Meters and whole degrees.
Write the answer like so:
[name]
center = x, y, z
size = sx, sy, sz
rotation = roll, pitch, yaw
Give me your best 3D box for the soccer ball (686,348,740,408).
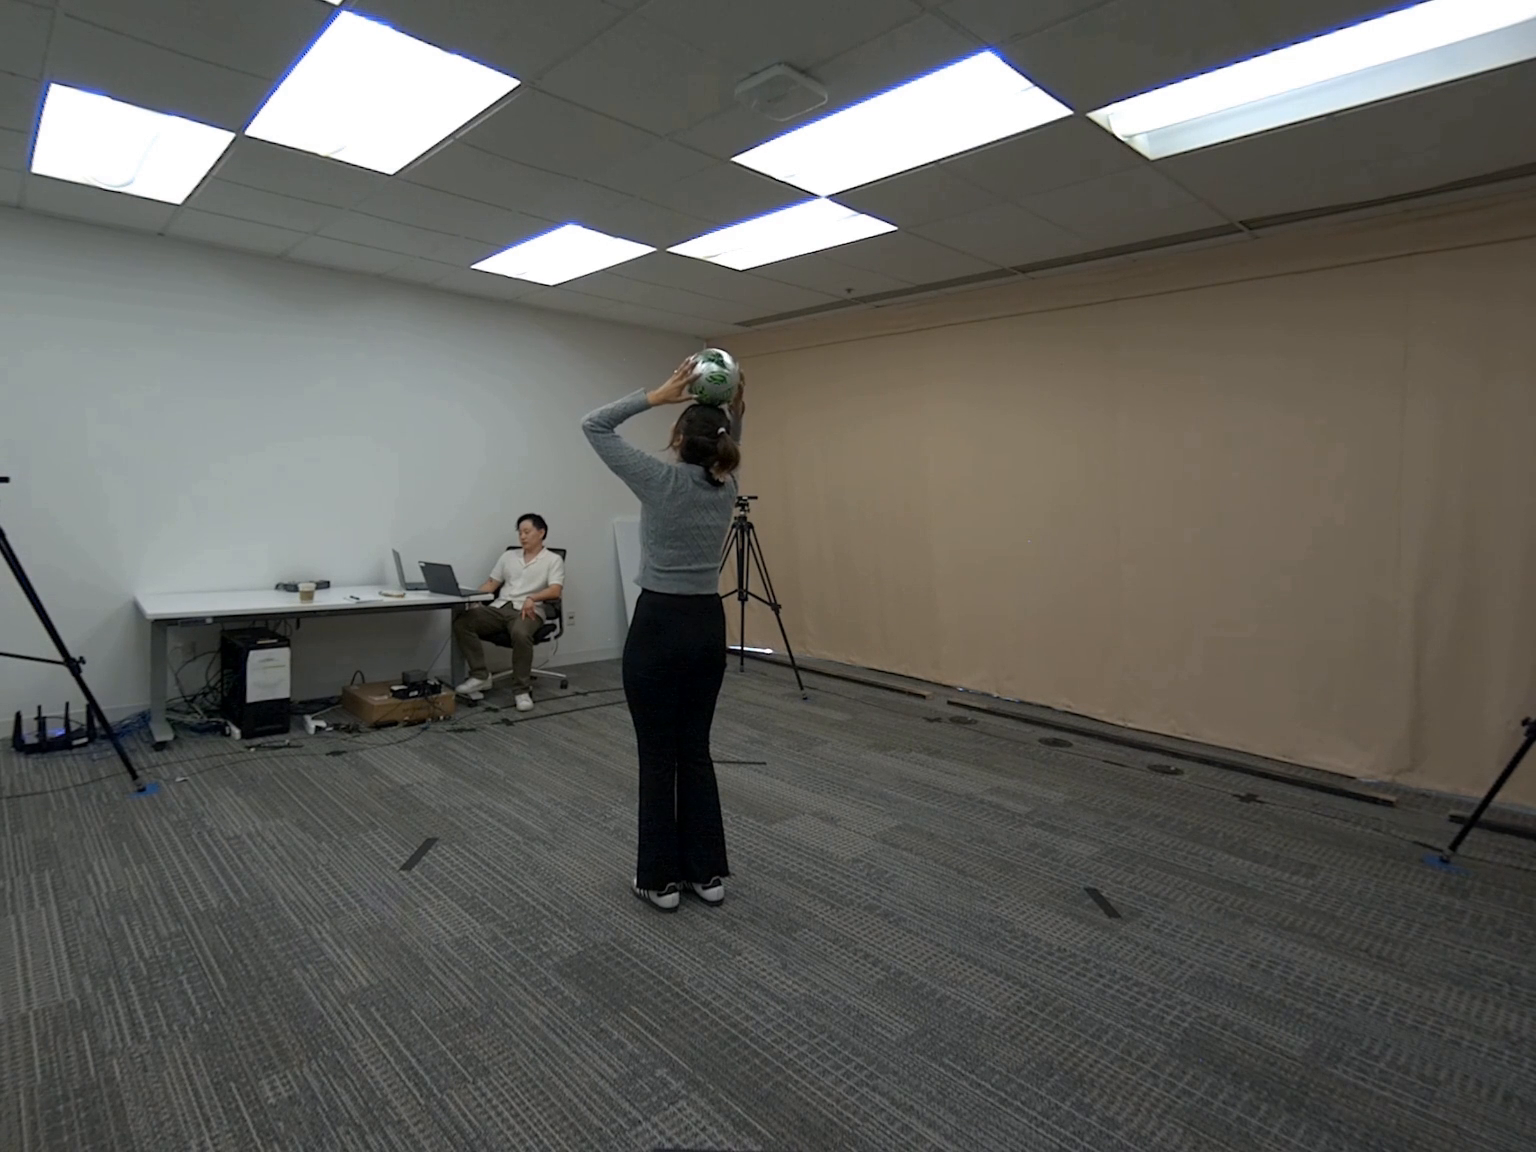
[soccer ball]
center = -0.199, -0.652, 2.784
size = 0.187, 0.187, 0.188
rotation = 1, 4, -1
